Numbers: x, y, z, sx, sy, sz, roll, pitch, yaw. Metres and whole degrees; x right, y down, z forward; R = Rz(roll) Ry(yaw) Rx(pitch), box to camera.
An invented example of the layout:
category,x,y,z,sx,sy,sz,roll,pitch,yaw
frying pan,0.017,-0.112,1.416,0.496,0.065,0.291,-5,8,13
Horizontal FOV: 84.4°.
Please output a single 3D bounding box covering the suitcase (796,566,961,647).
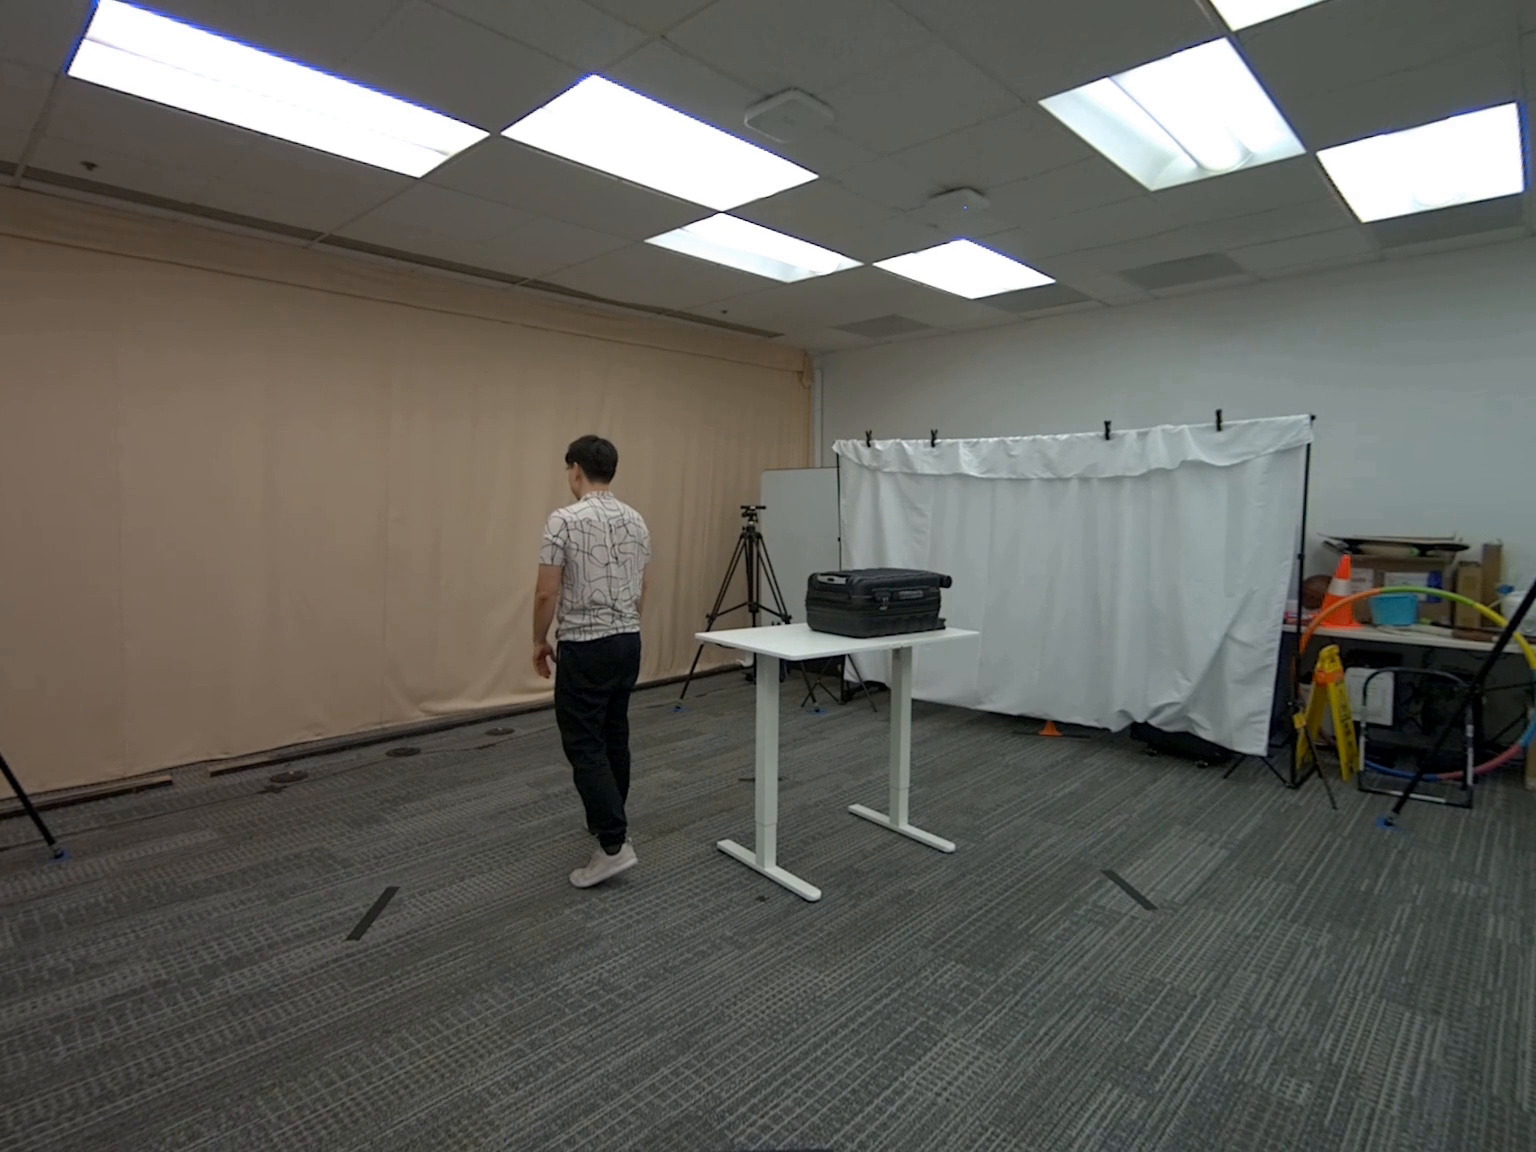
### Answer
category,x,y,z,sx,sy,sz,roll,pitch,yaw
suitcase,0.448,0.108,3.440,0.533,0.248,0.388,-3,6,-39
